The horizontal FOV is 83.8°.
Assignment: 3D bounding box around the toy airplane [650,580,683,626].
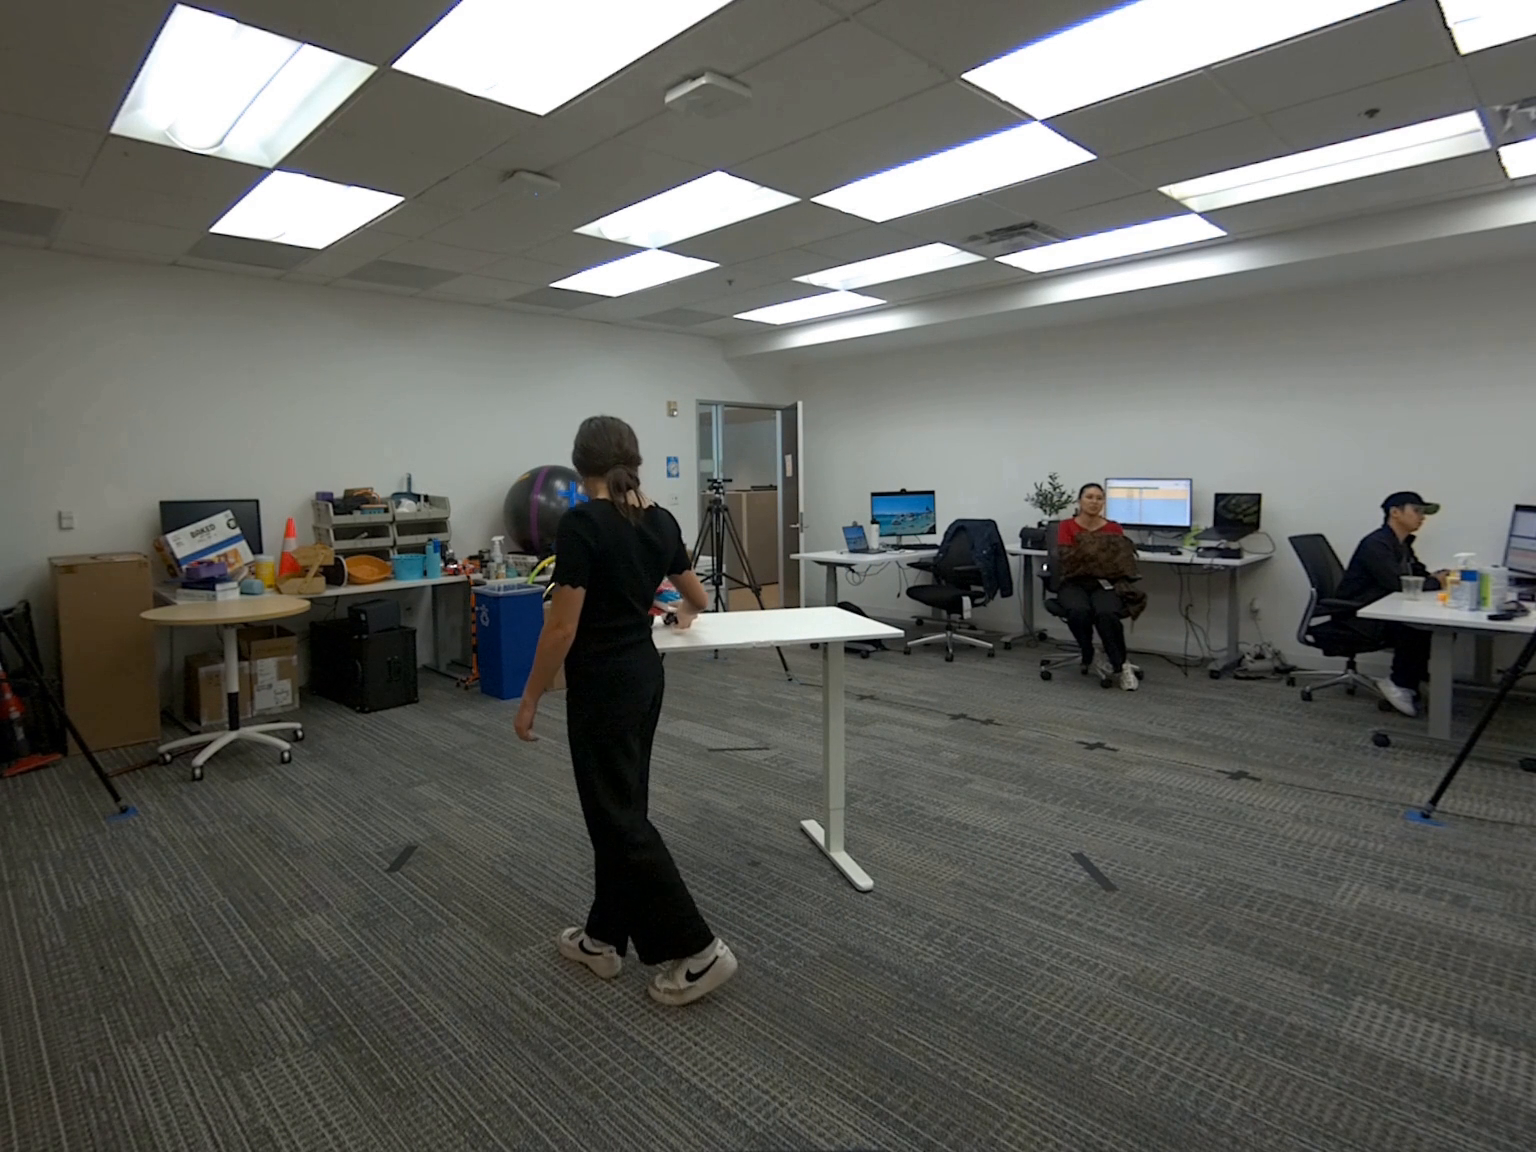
[{"bbox_3d":[-0.333,0.095,2.961,0.265,0.157,0.245,-6,-2,28],"label":"toy airplane"}]
